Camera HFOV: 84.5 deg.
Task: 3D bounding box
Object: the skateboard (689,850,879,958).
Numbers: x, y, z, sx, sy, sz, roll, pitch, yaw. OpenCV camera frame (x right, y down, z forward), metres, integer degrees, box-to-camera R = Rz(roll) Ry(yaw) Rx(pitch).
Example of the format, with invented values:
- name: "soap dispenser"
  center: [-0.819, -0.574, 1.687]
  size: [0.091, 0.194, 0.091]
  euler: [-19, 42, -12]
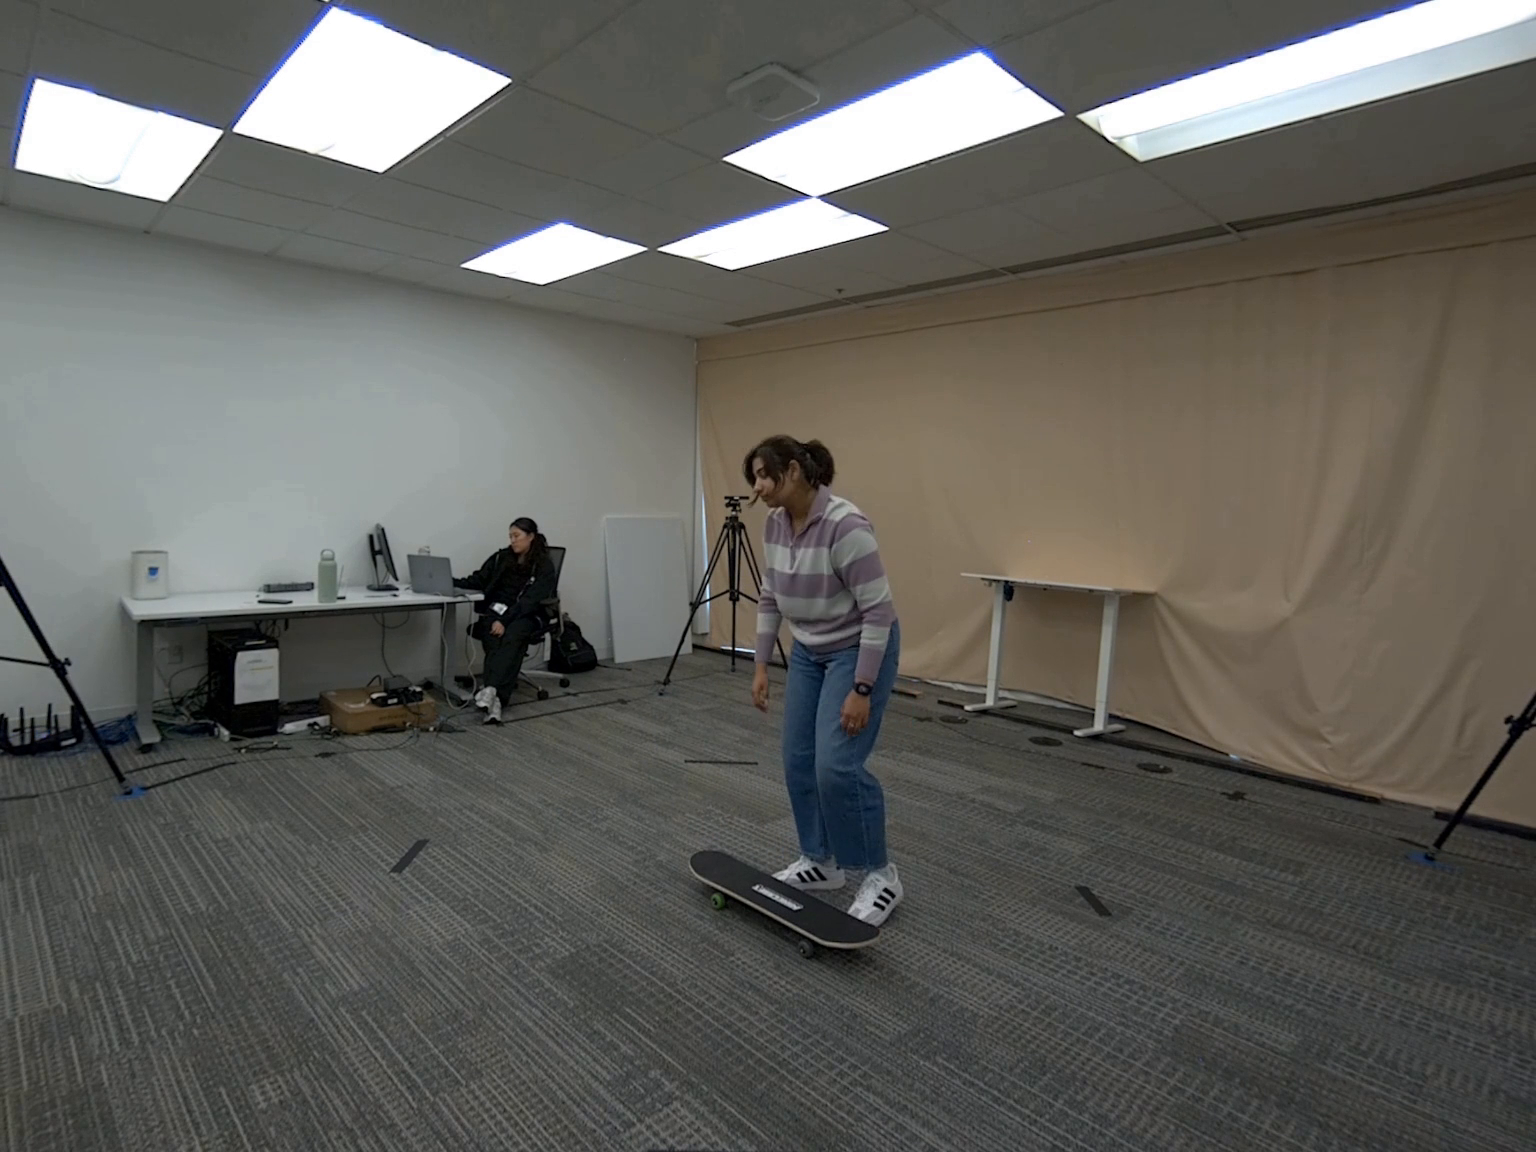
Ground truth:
- name: "skateboard"
  center: [0.023, 1.082, 2.759]
  size: [0.189, 0.110, 0.806]
  euler: [-3, 6, -44]
